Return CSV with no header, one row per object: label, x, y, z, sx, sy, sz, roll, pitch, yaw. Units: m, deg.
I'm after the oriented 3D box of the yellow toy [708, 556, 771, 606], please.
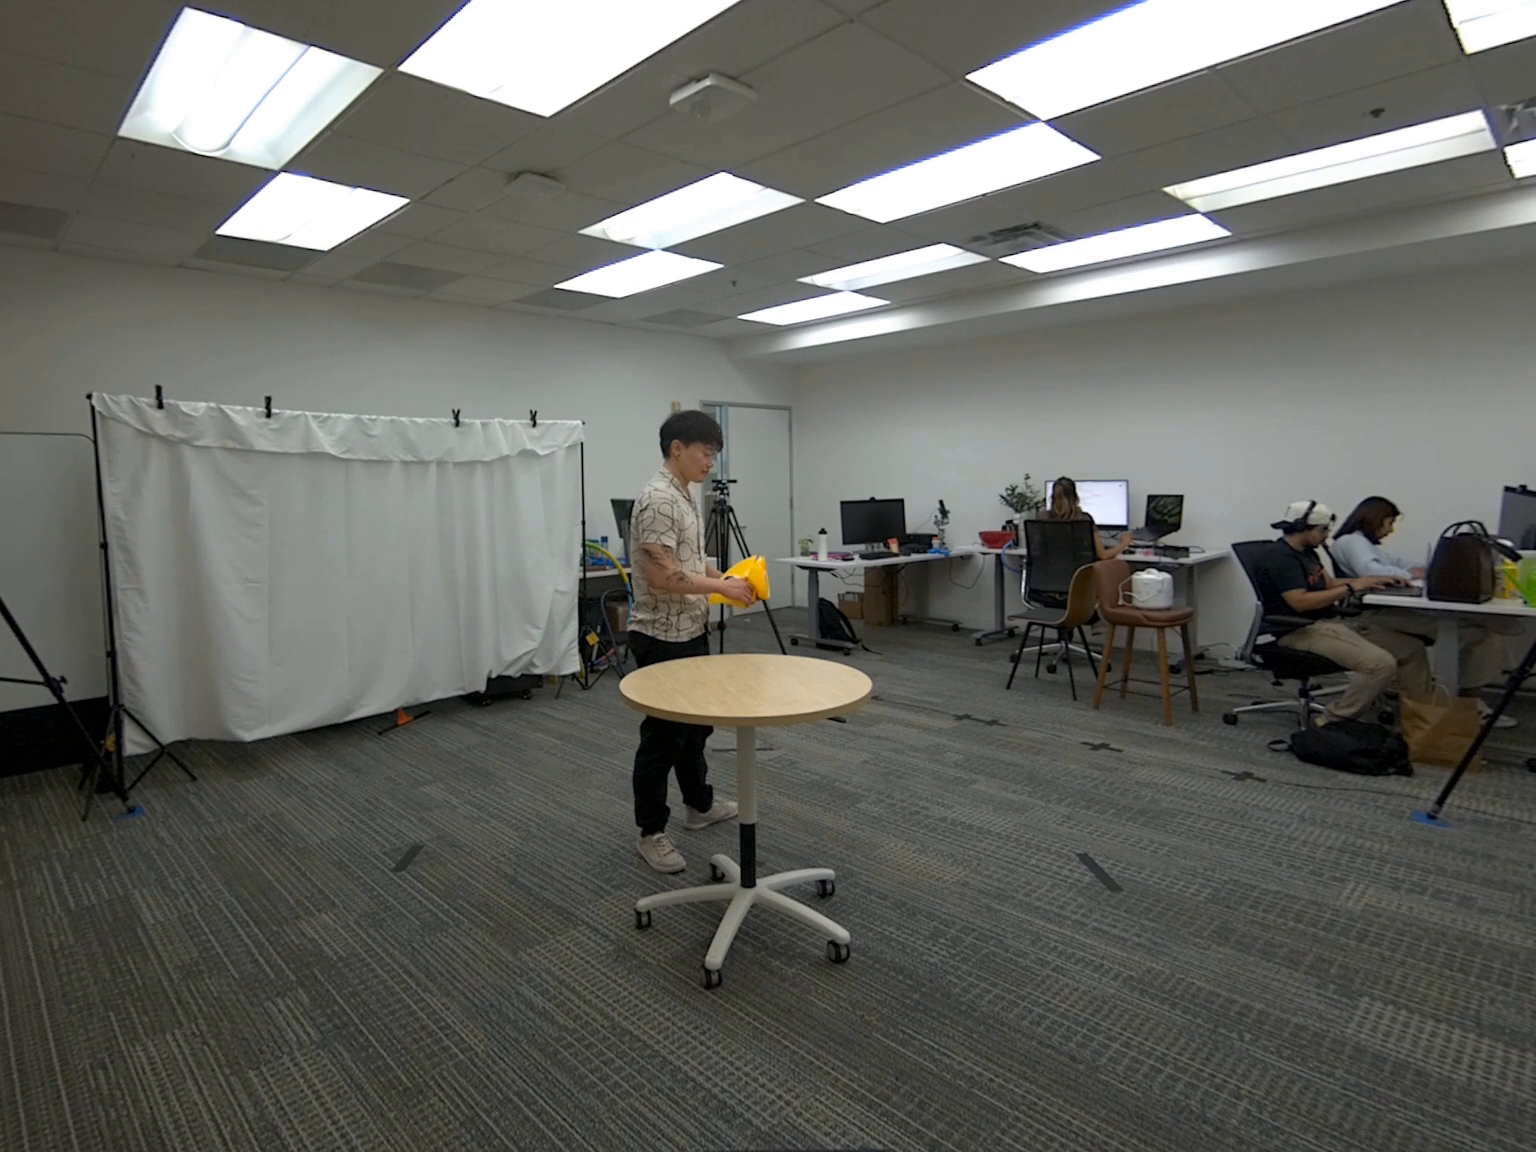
yellow toy,-0.122,0.028,3.201,0.233,0.193,0.203,-5,0,9
